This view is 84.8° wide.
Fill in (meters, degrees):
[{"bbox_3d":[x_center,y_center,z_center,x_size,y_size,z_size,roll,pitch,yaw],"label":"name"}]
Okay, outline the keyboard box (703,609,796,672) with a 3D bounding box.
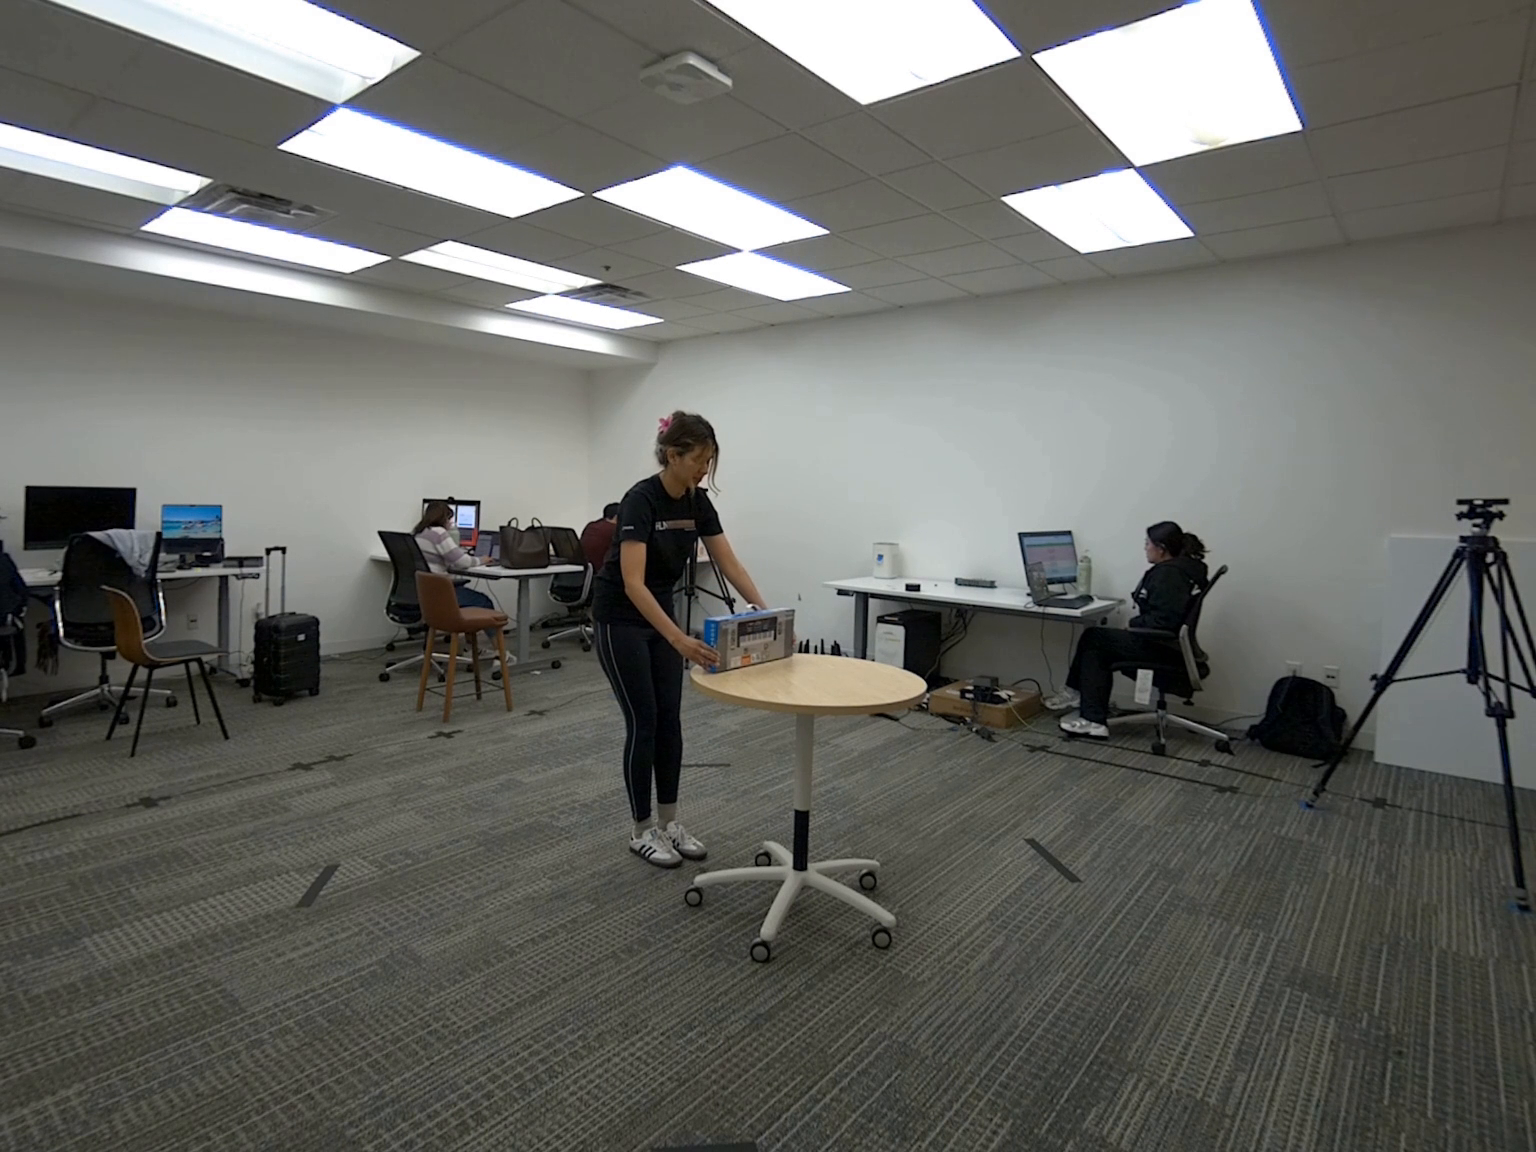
[{"bbox_3d":[-0.069,0.215,2.944,0.061,0.175,0.424,4,5,38],"label":"keyboard box"}]
